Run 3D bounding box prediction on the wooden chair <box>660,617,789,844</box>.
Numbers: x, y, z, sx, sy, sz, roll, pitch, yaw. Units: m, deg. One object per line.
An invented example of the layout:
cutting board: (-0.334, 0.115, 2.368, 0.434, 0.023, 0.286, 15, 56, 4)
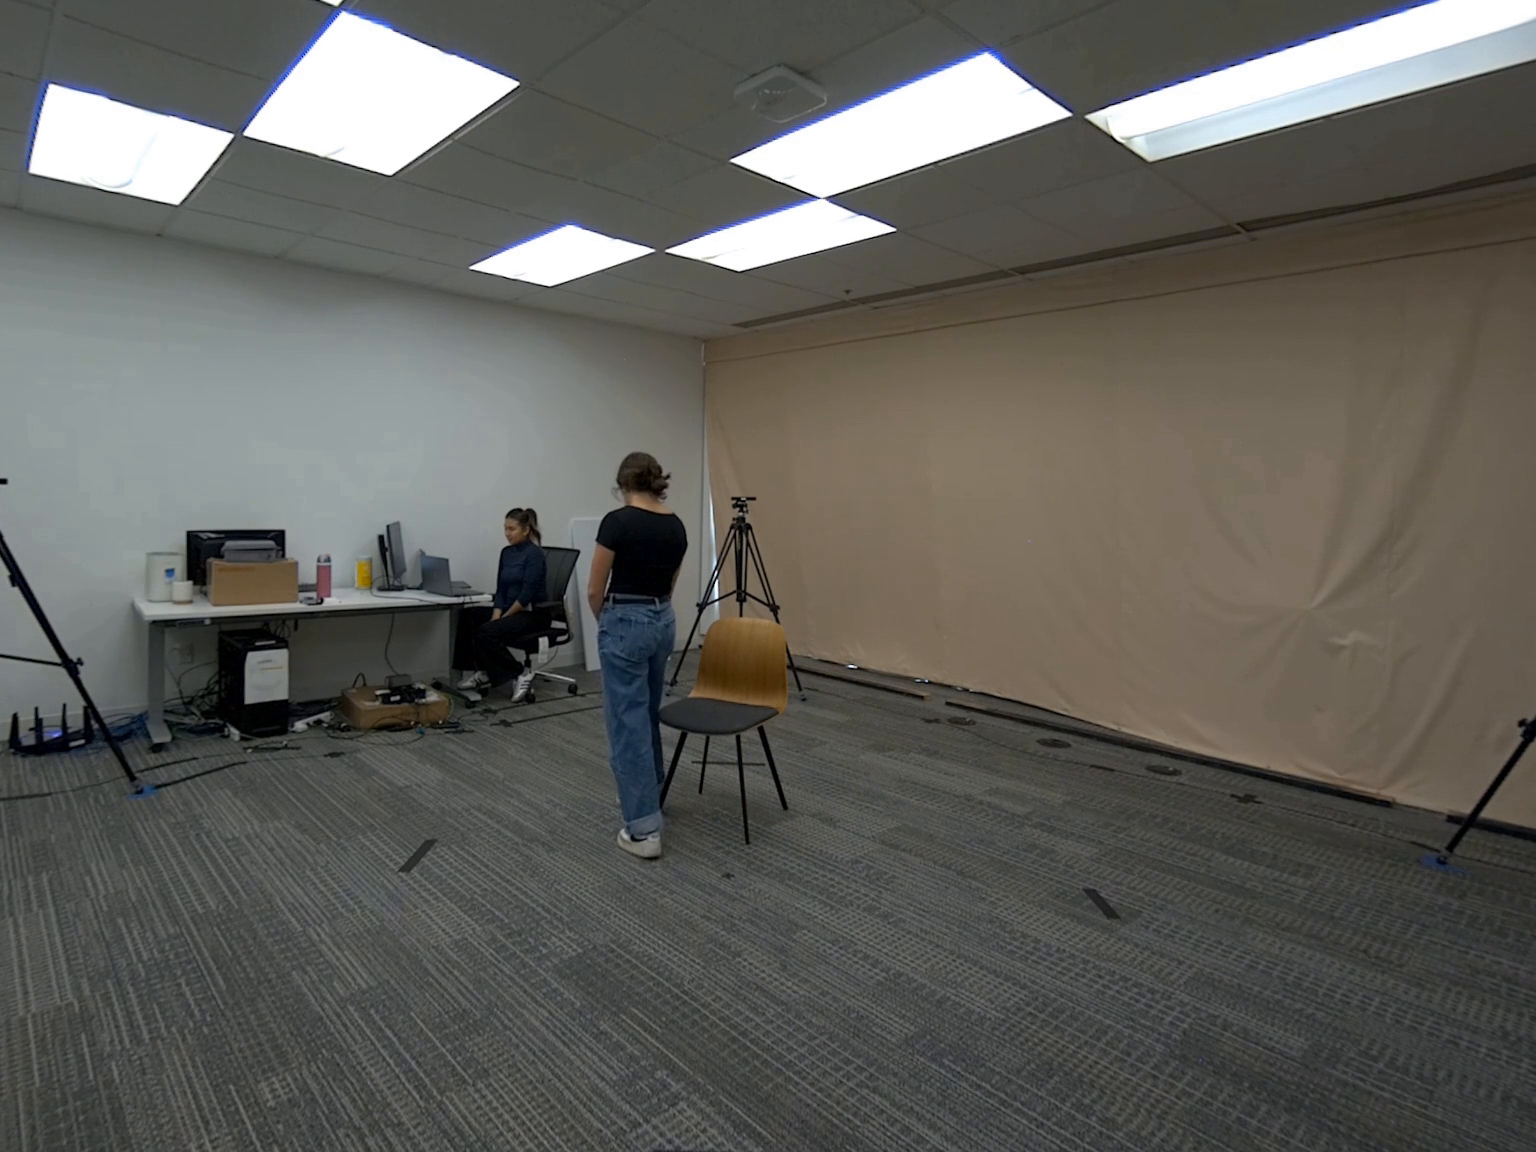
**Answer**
wooden chair: (-0.196, 0.632, 3.650, 0.487, 0.878, 0.513, 3, -1, 23)
